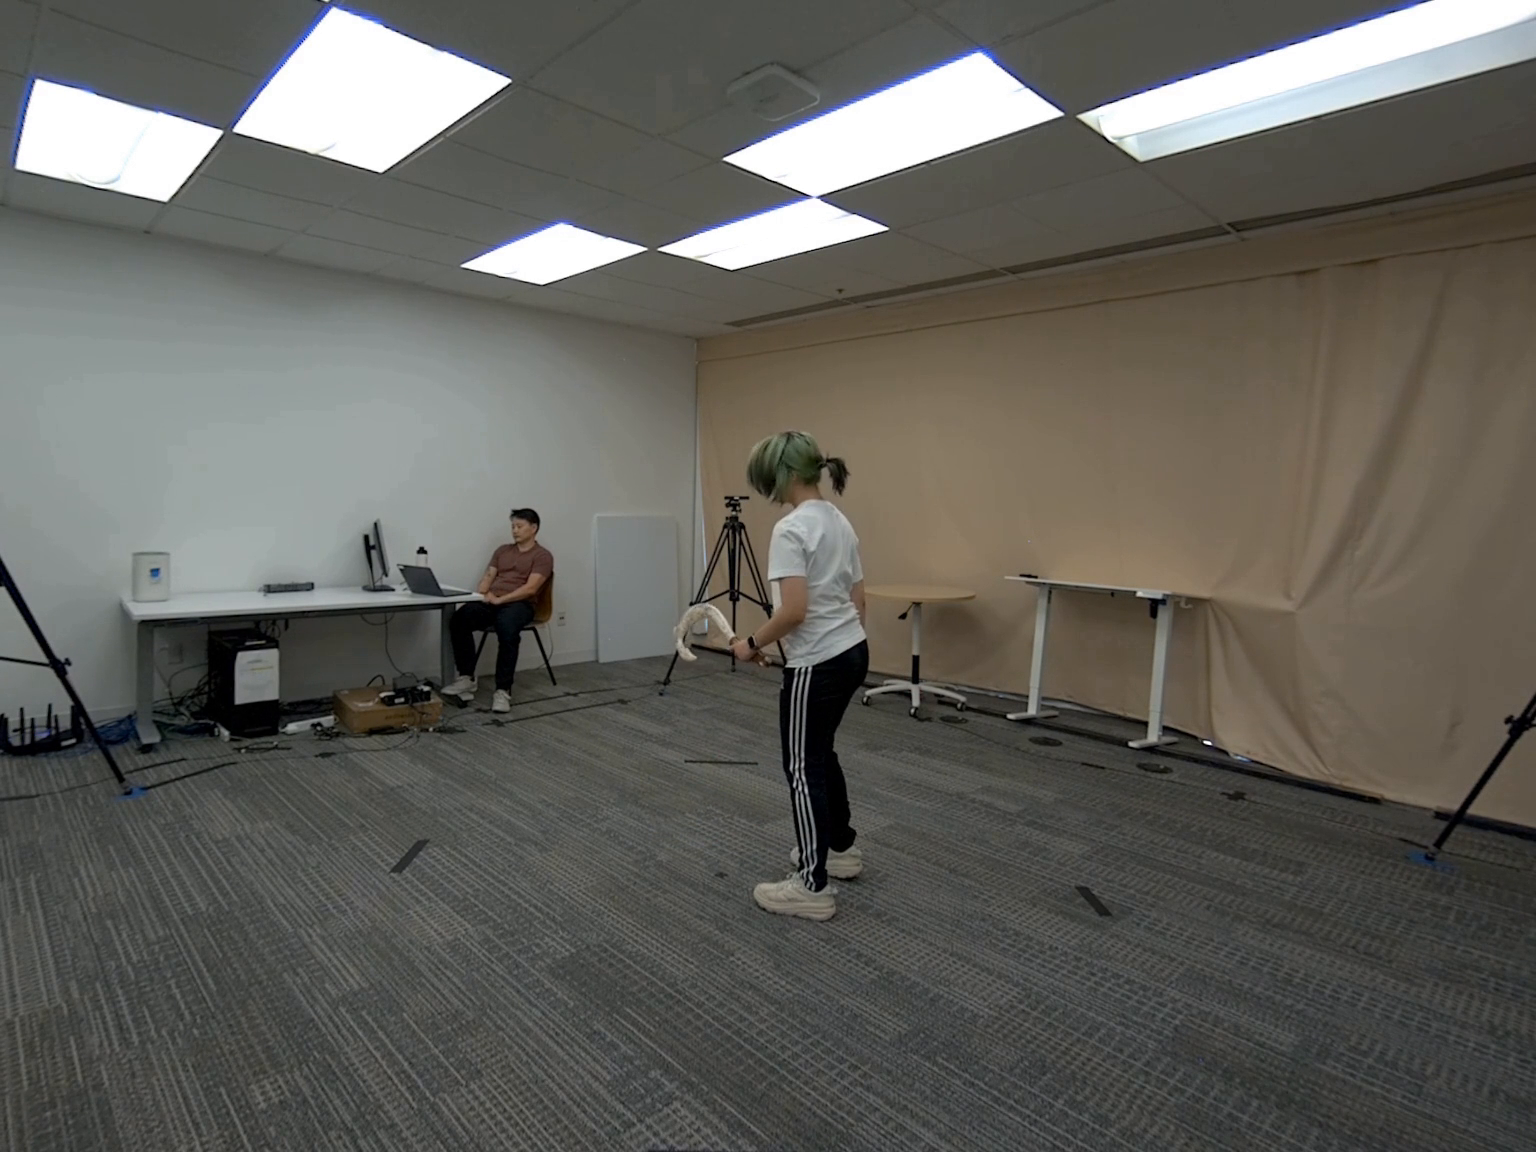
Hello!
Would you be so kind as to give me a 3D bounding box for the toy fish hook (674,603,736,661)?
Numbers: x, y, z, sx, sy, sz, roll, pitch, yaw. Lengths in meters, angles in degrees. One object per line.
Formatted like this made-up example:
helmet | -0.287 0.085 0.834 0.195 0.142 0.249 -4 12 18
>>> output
toy fish hook | -0.183 0.260 3.066 0.523 0.225 0.047 29 -5 46
